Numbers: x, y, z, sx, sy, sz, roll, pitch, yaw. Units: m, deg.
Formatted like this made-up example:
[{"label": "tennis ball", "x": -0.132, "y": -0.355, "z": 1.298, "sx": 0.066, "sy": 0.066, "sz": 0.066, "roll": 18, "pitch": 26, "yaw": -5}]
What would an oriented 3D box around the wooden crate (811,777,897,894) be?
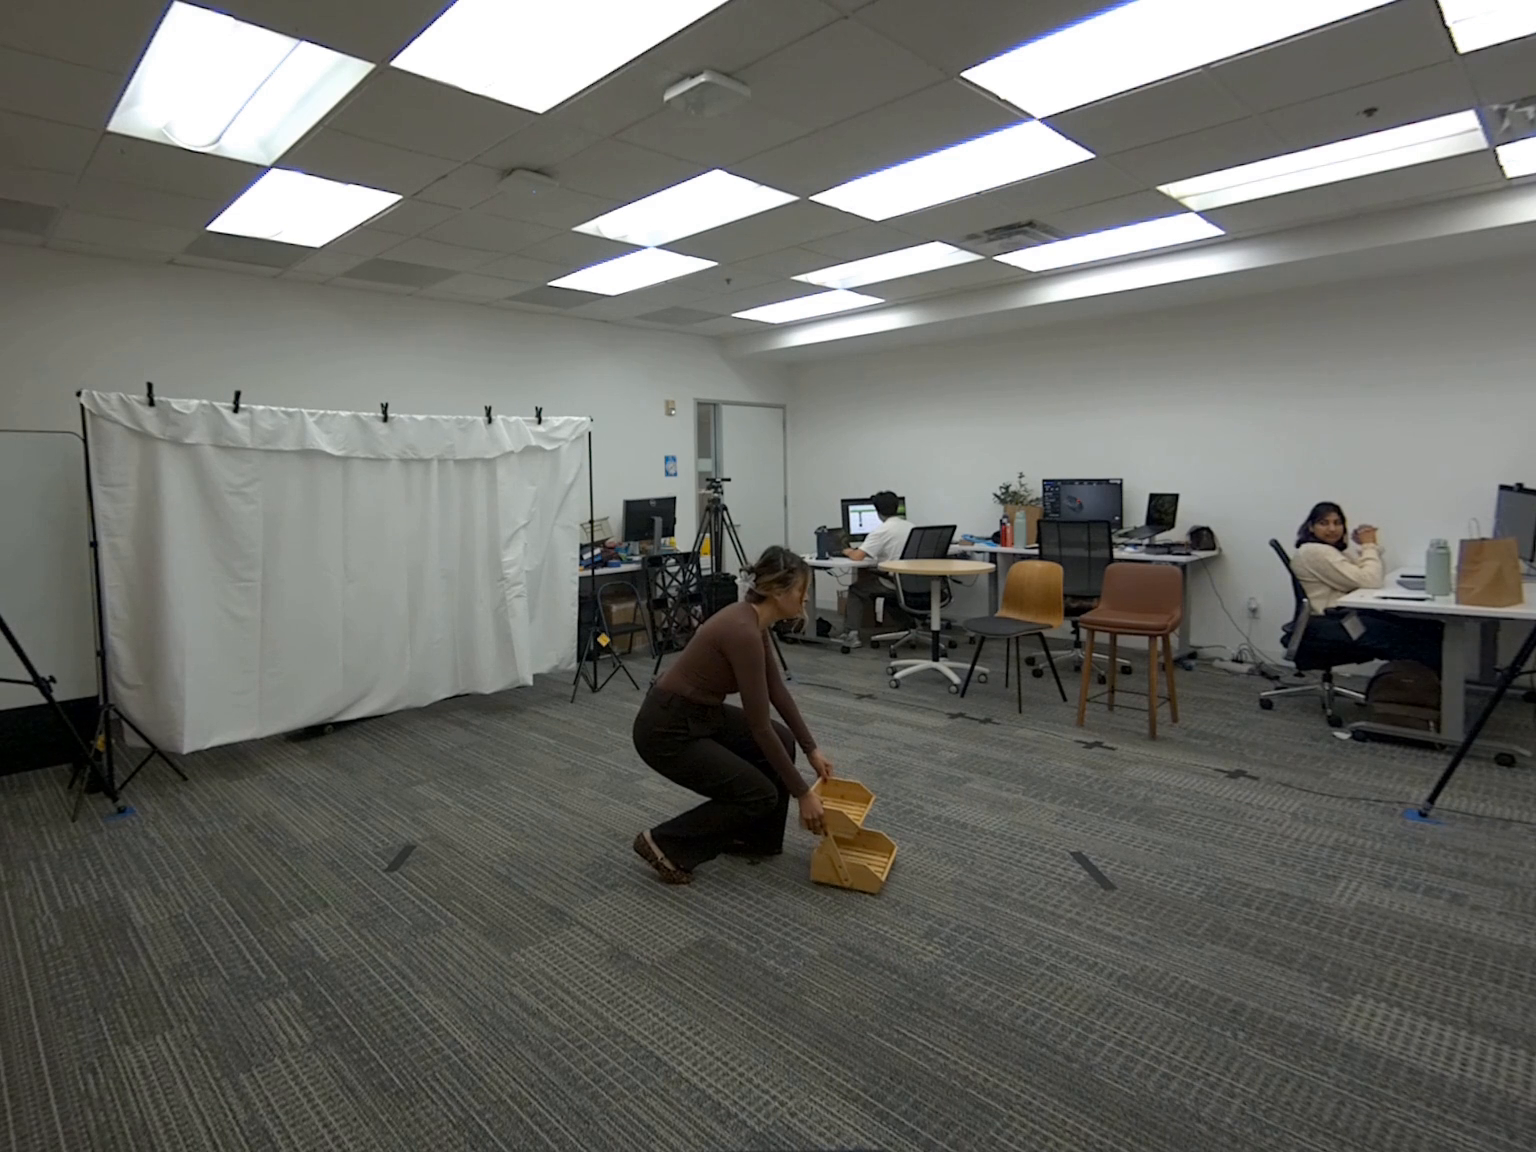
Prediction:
[{"label": "wooden crate", "x": 0.292, "y": 0.894, "z": 3.017, "sx": 0.308, "sy": 0.272, "sz": 0.319, "roll": 4, "pitch": 6, "yaw": 19}]
